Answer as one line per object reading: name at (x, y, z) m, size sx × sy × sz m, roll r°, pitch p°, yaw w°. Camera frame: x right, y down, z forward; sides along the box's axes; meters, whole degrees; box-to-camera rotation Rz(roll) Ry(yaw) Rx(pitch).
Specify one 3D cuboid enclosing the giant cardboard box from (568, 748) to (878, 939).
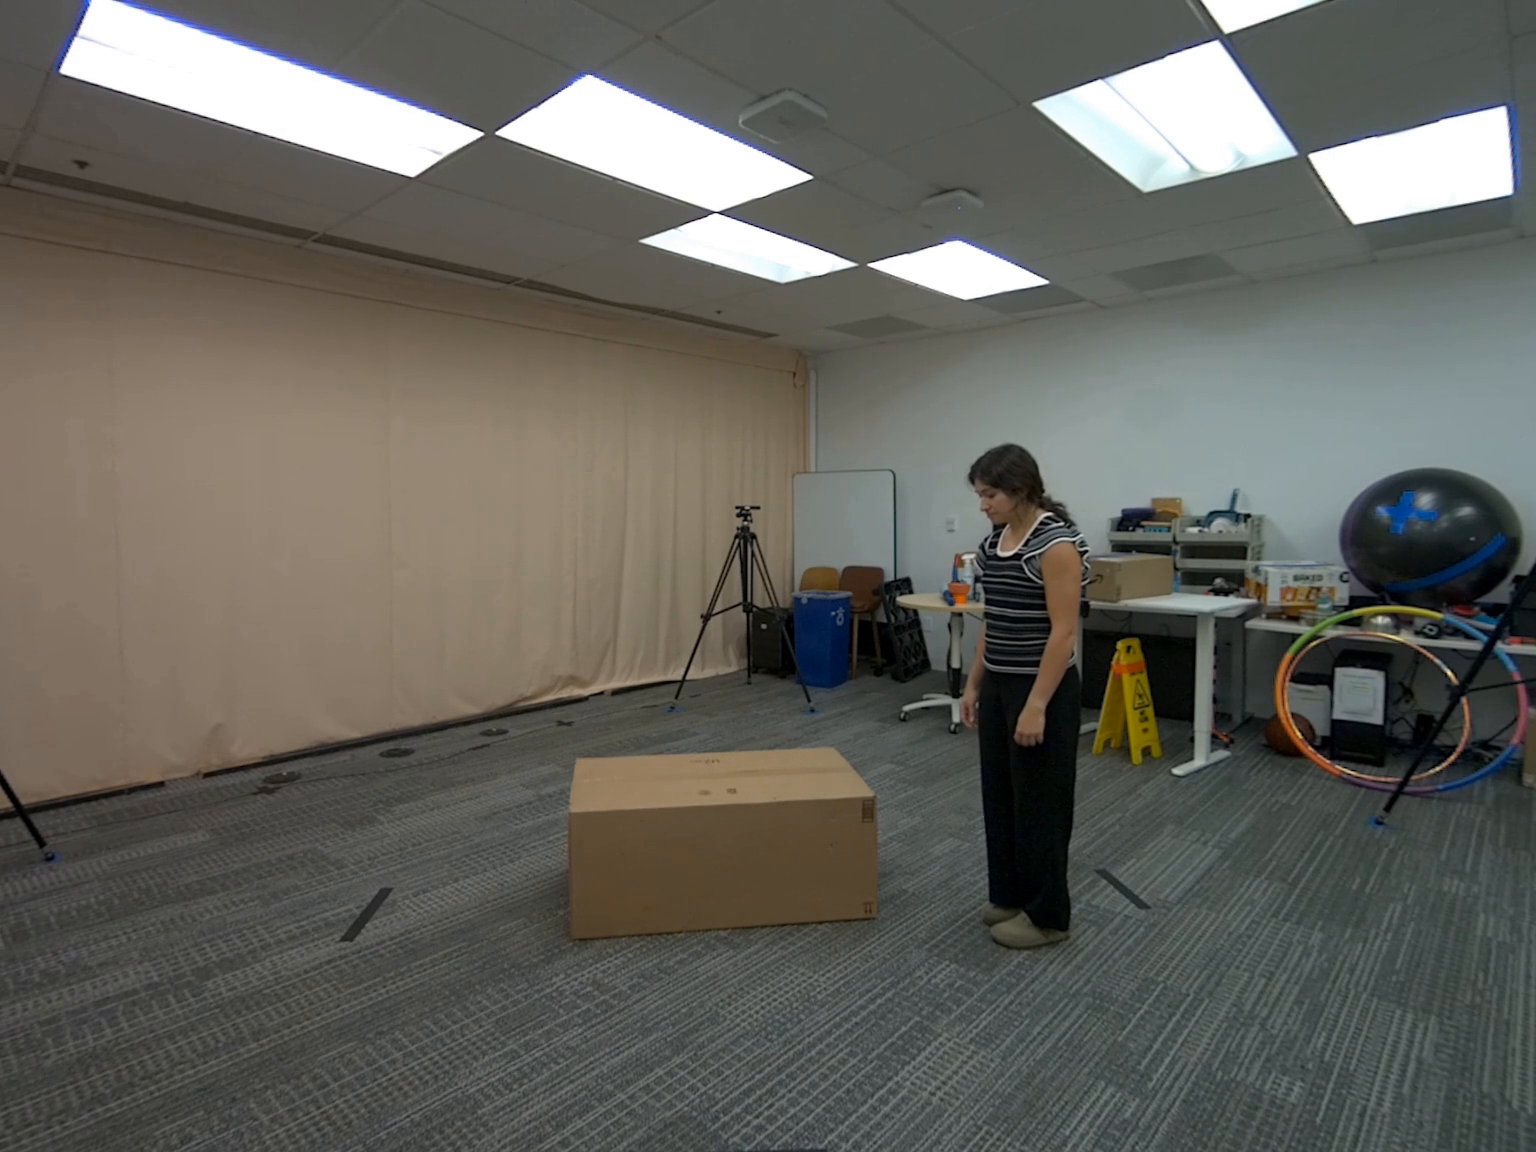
giant cardboard box at (-0.186, 0.927, 3.039) m, size 1.018 × 0.425 × 0.584 m, roll -1°, pitch 5°, yaw -8°
